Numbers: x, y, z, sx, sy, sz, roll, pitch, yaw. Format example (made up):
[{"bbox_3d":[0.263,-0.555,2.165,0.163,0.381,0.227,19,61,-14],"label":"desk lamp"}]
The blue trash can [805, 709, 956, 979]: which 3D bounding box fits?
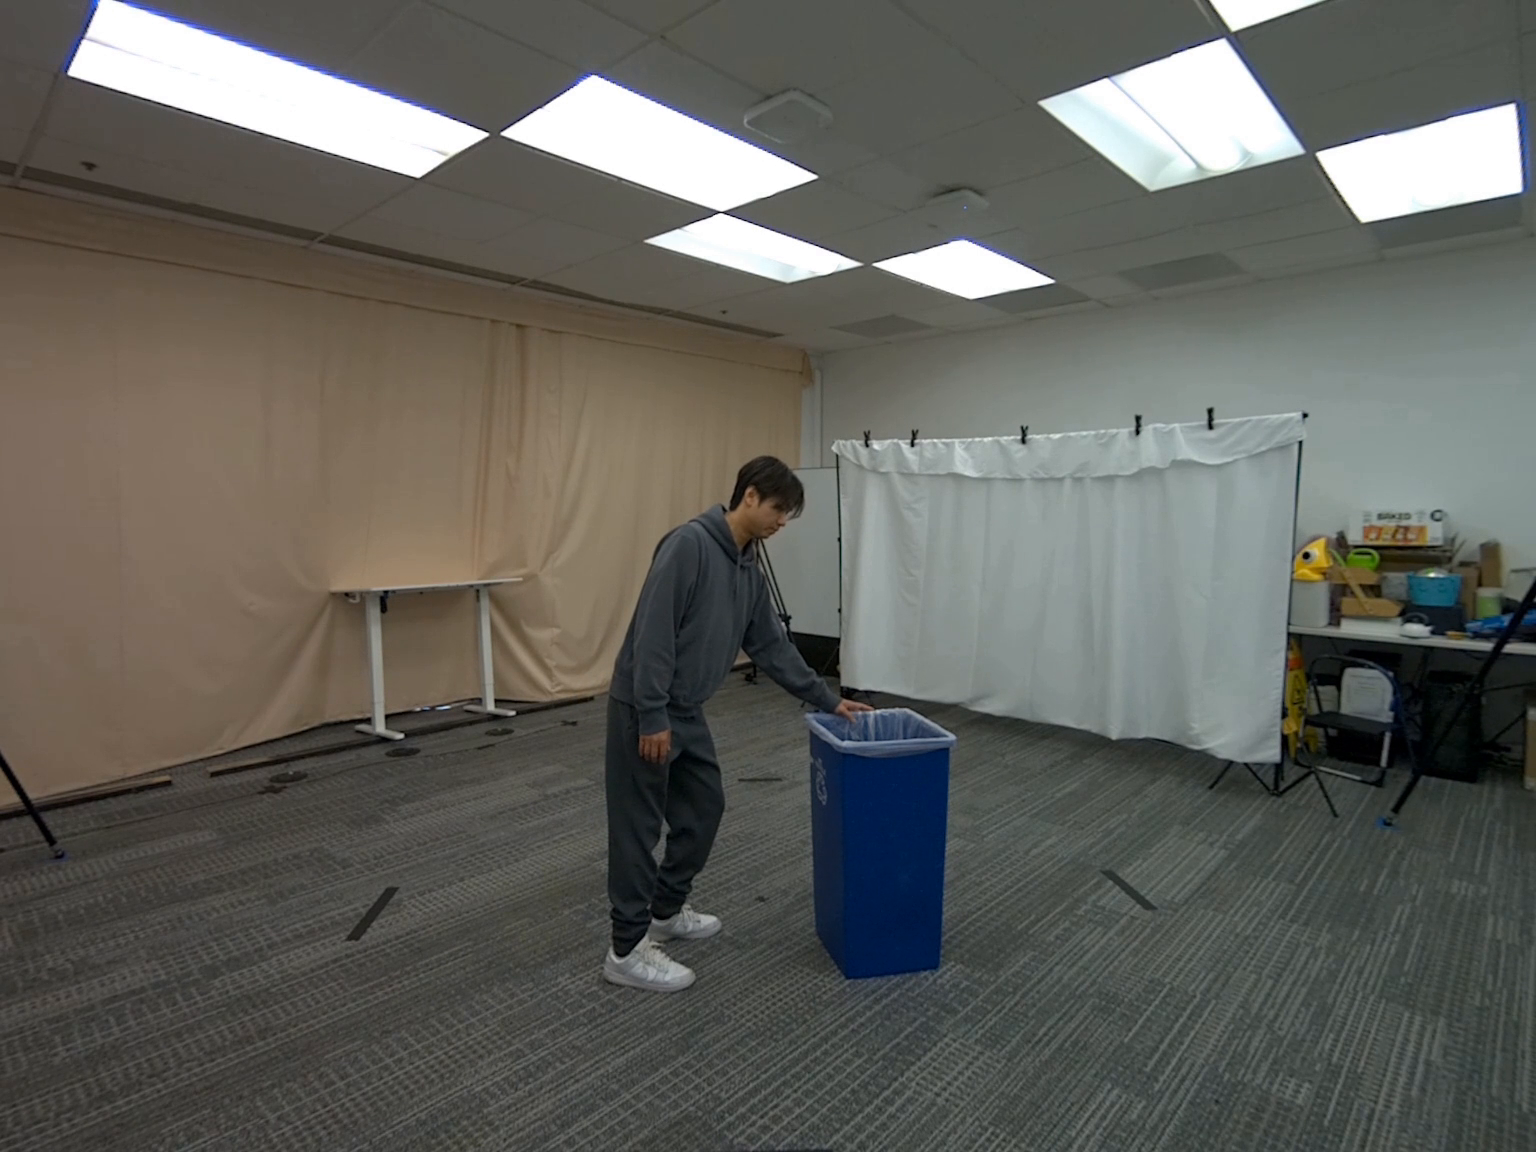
[{"bbox_3d":[0.348,0.823,2.617,0.373,0.712,0.380,0,3,-13],"label":"blue trash can"}]
